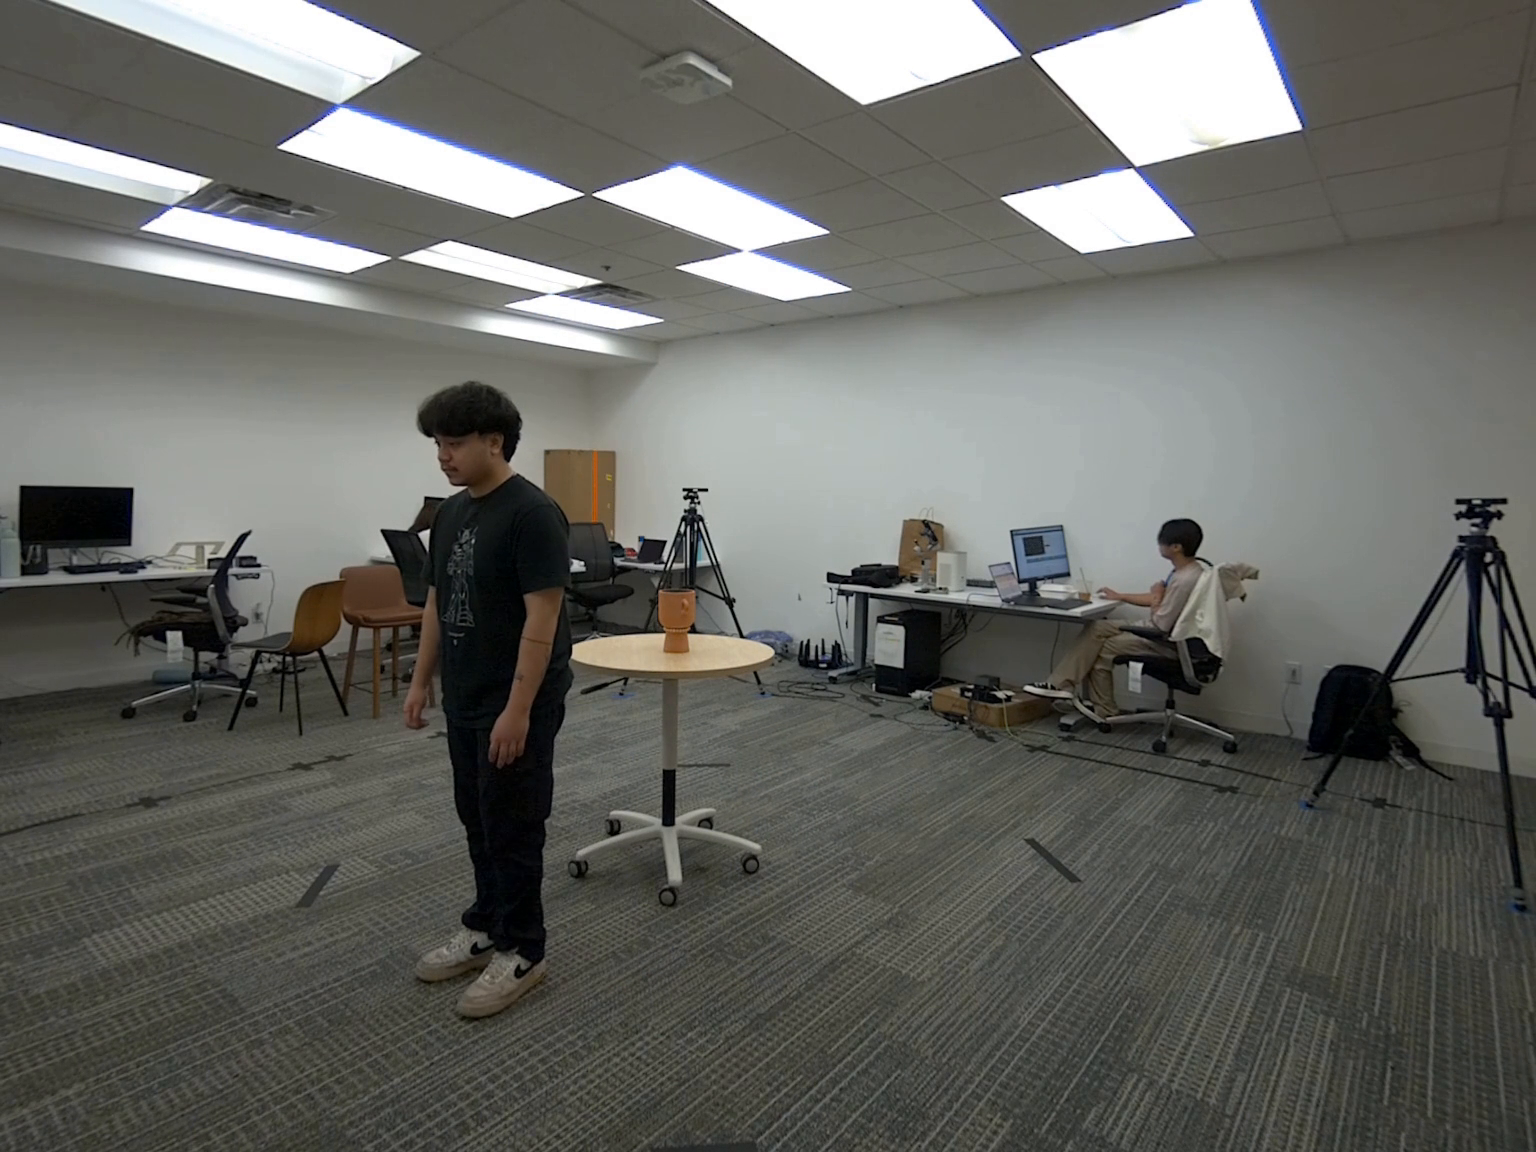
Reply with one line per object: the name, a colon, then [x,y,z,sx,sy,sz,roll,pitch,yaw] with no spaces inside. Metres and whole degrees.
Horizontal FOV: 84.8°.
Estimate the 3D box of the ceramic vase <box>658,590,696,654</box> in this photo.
ceramic vase: [-0.348,0.162,3.120,0.136,0.219,0.157,1,3,12]
